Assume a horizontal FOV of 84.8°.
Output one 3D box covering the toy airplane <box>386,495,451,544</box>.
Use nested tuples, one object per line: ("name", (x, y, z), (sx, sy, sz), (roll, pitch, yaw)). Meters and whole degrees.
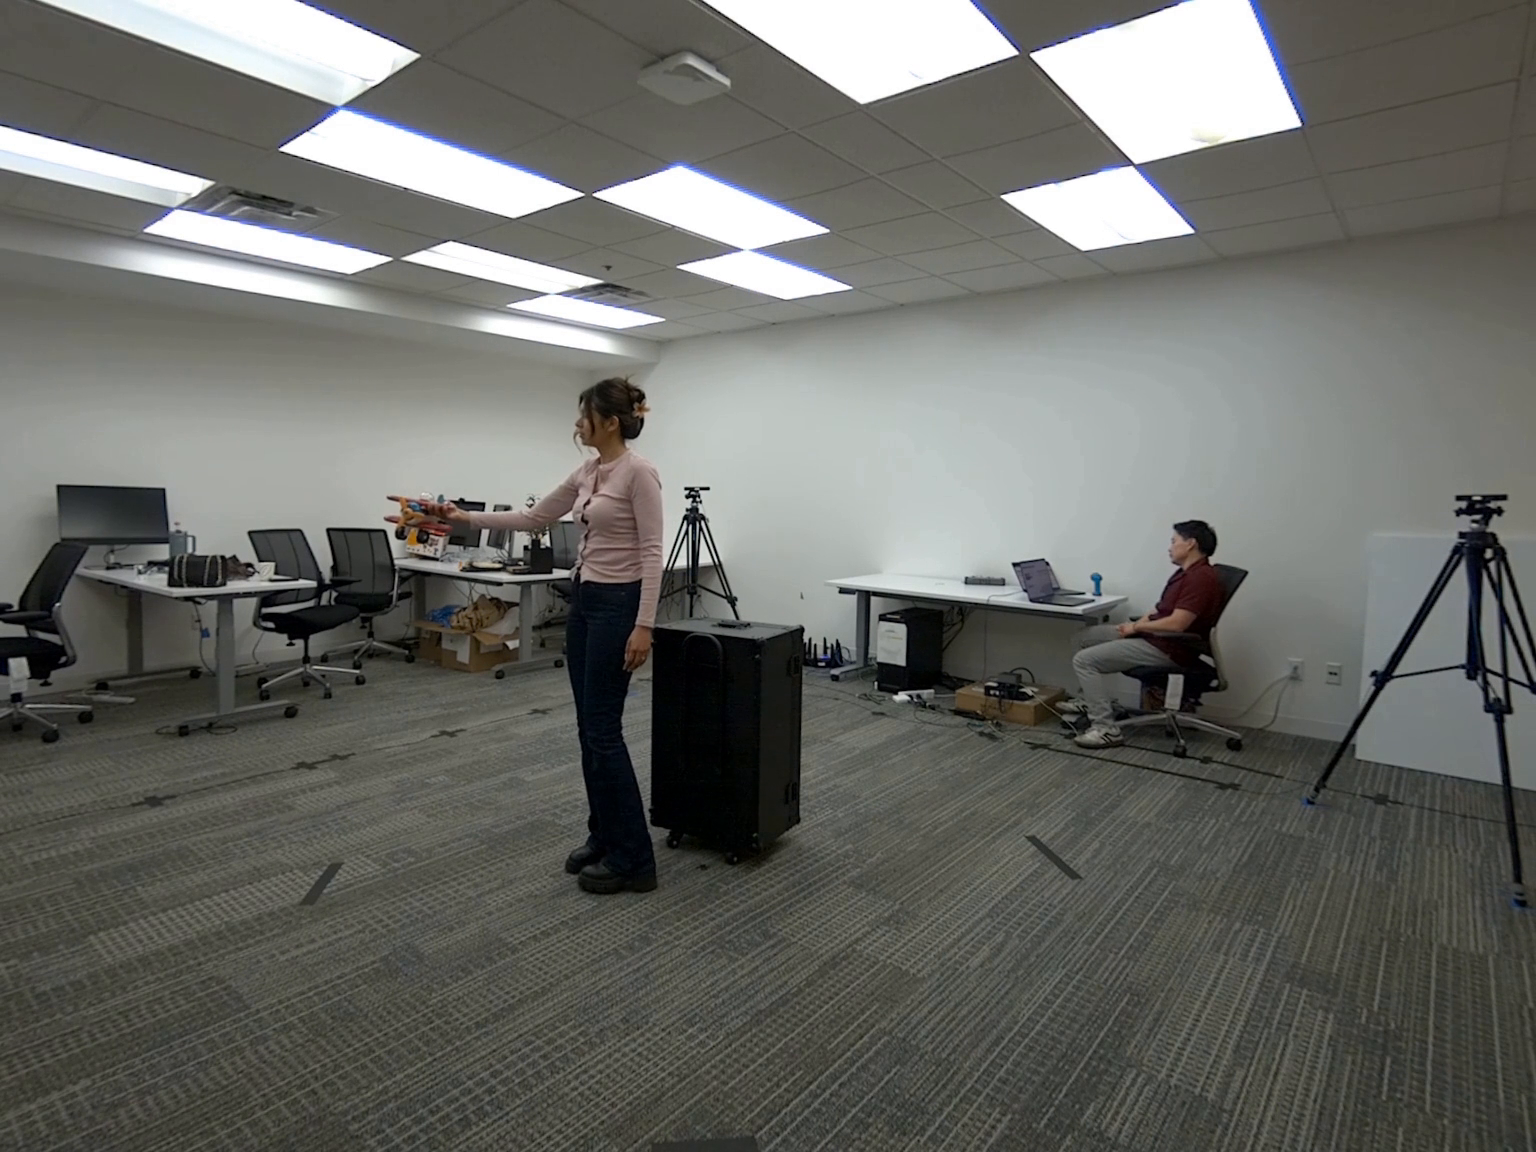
("toy airplane", (-1.322, -0.231, 3.178), (0.246, 0.154, 0.268), (1, 22, -19))
